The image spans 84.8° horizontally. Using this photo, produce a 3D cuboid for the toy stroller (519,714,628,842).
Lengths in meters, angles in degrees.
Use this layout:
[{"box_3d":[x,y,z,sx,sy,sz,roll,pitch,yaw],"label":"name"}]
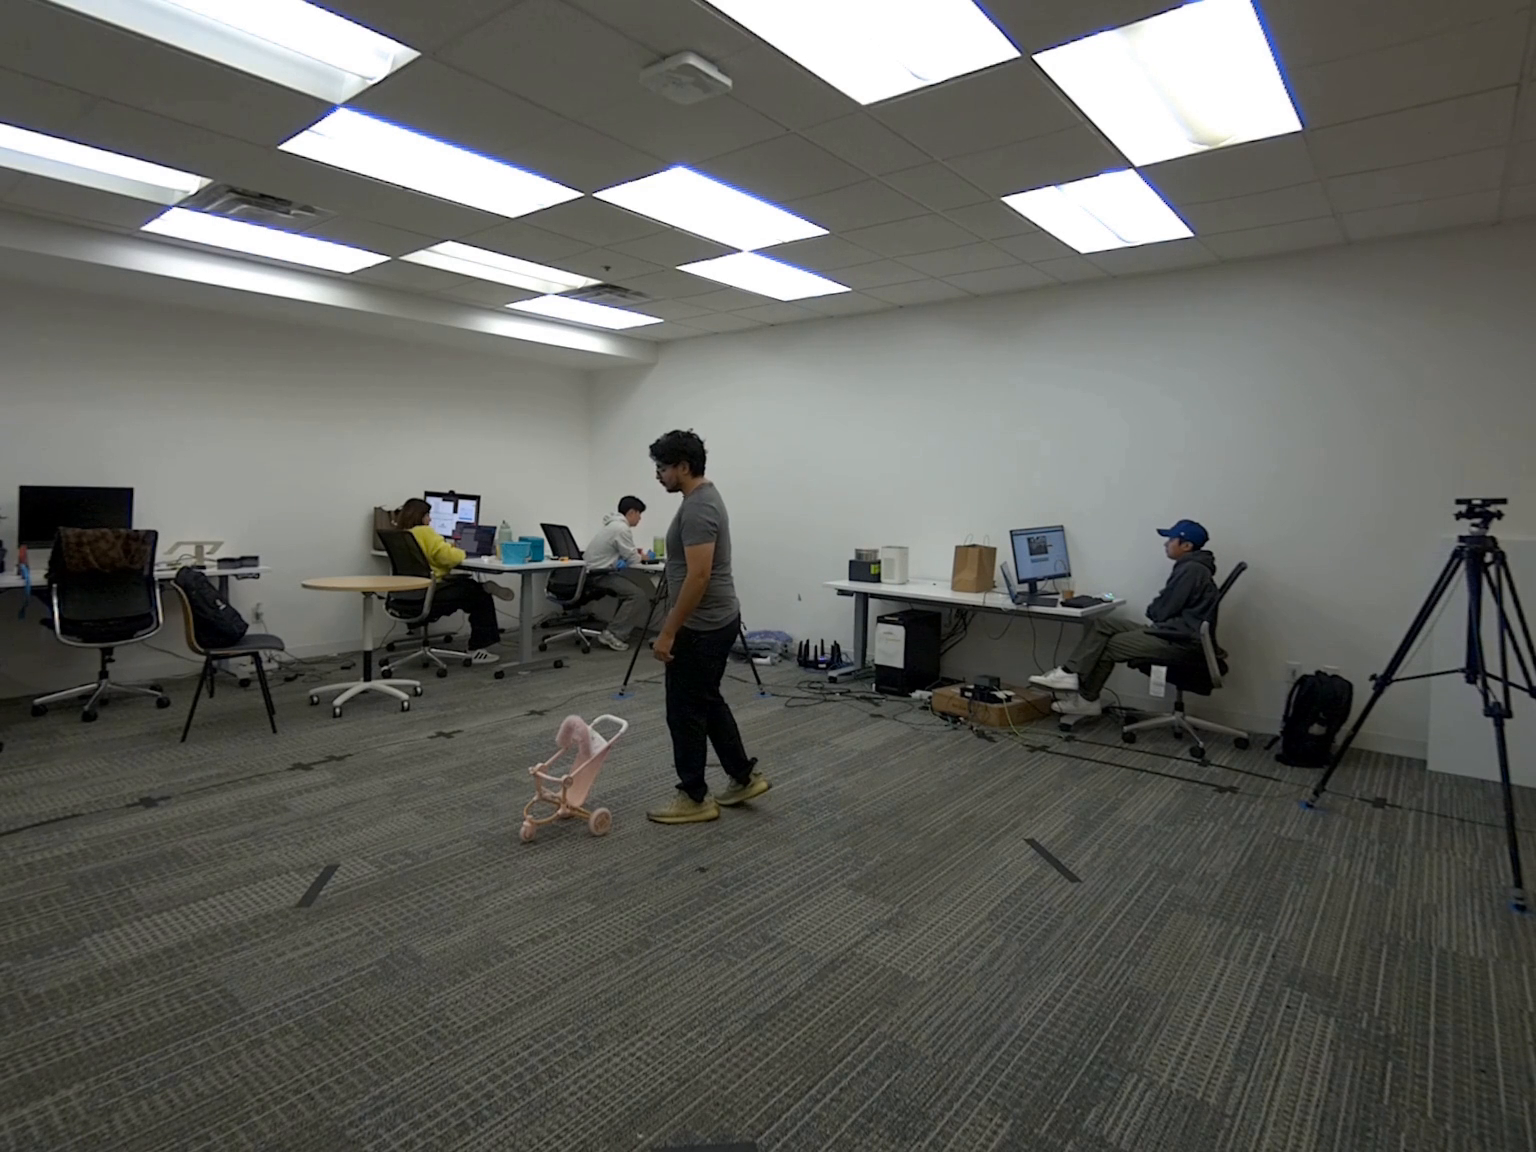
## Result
[{"box_3d":[-0.812,0.805,3.445,0.328,0.538,0.291,20,-10,-39],"label":"toy stroller"}]
